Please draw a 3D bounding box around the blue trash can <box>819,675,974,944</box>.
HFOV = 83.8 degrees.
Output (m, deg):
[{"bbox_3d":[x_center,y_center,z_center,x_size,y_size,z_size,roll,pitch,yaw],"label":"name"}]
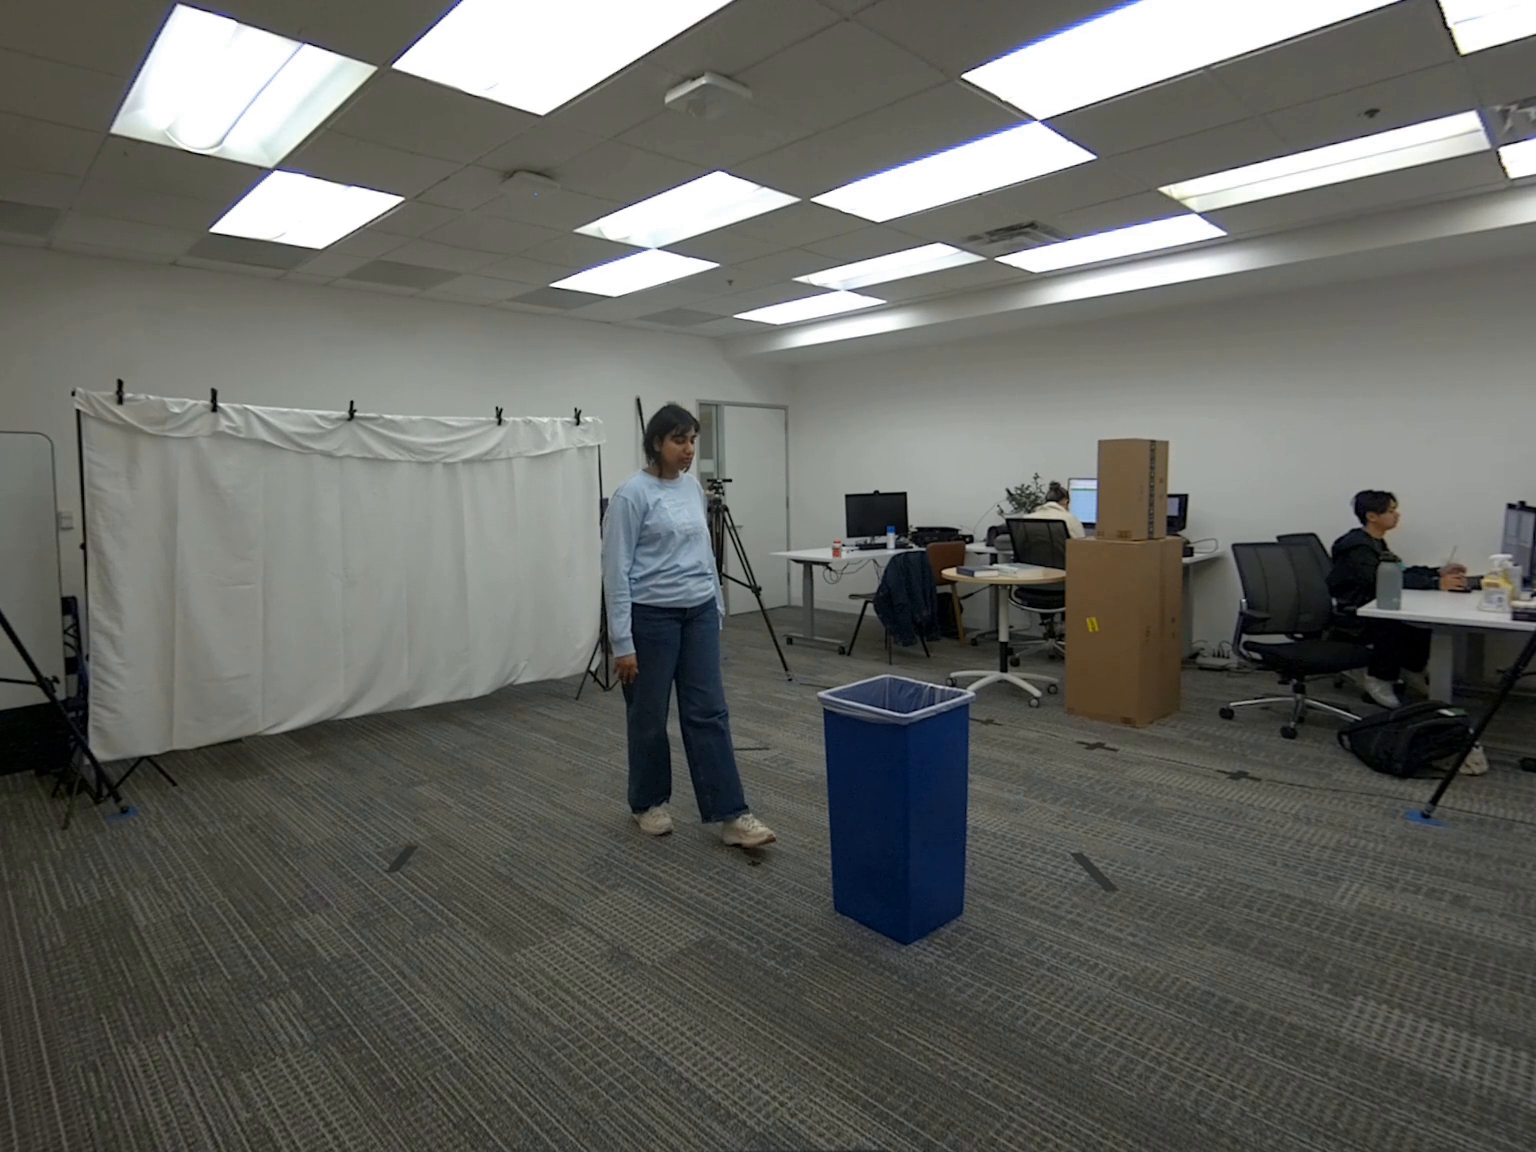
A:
[{"bbox_3d":[0.412,0.725,2.717,0.364,0.711,0.389,-5,5,-42],"label":"blue trash can"}]
